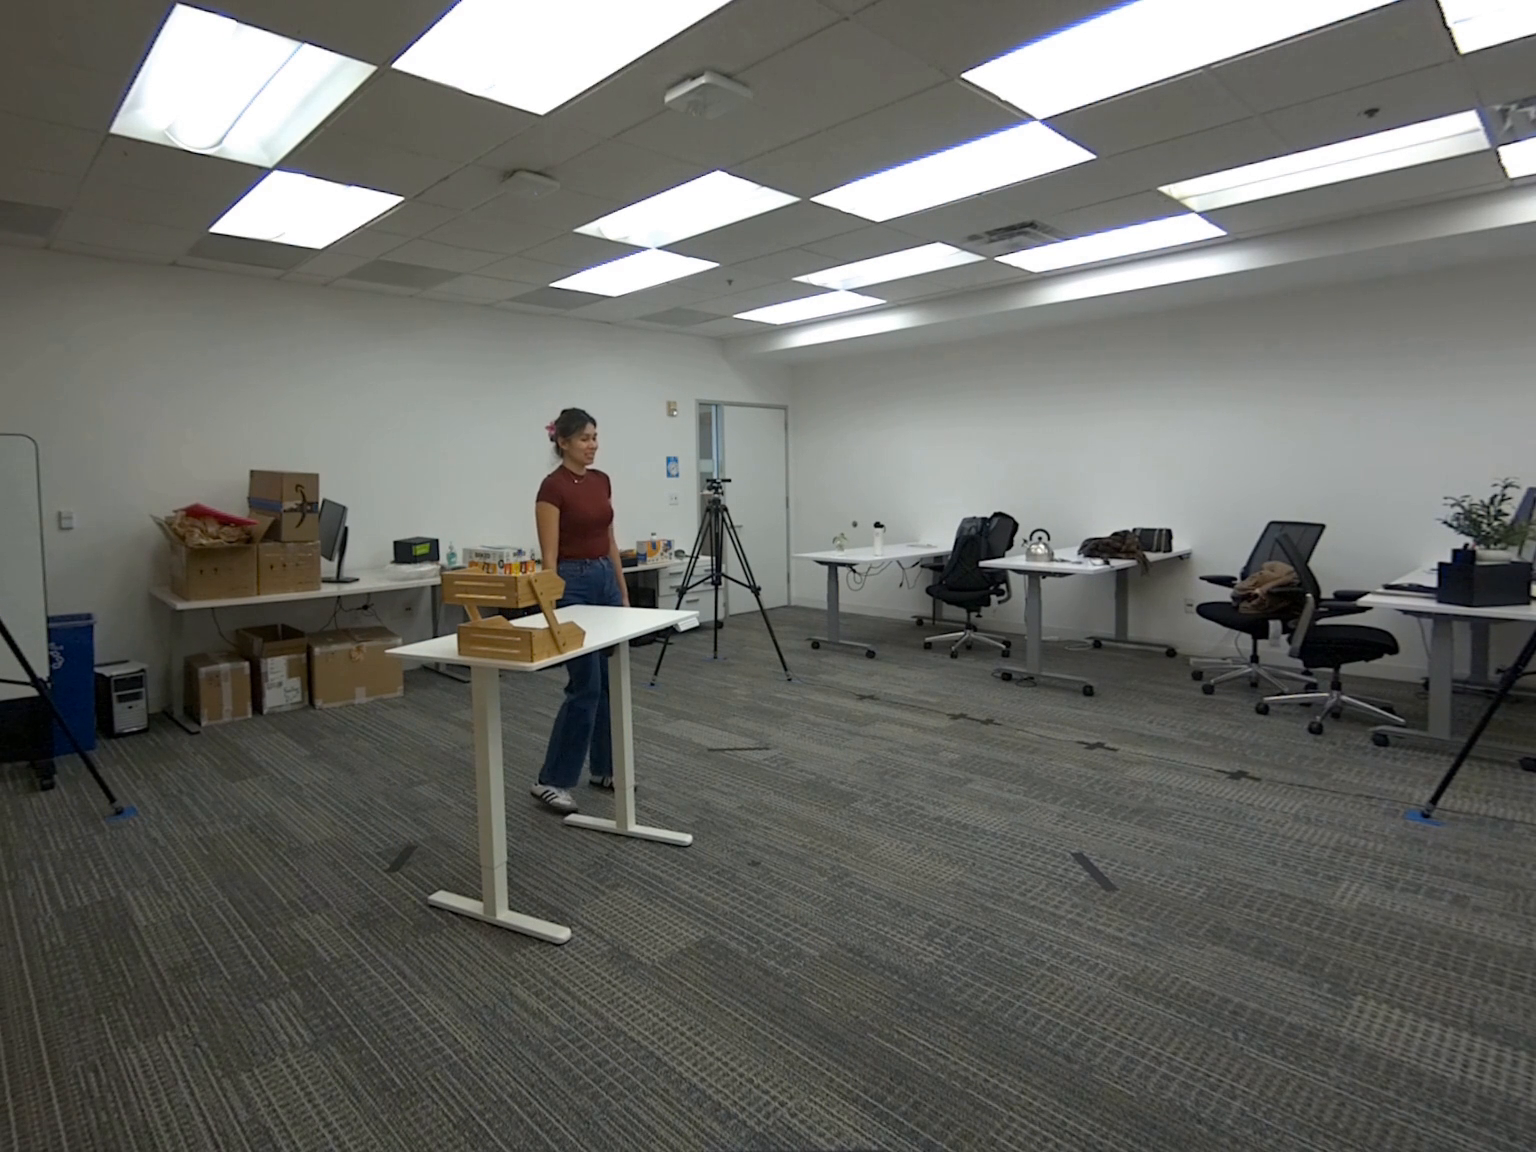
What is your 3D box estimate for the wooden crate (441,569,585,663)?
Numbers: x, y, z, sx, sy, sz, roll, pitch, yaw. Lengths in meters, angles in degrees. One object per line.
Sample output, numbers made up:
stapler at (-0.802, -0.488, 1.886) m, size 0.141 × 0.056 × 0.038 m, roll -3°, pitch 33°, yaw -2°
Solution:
wooden crate at (-0.777, 0.104, 2.615) m, size 0.332 × 0.272 × 0.296 m, roll 1°, pitch 6°, yaw 26°
